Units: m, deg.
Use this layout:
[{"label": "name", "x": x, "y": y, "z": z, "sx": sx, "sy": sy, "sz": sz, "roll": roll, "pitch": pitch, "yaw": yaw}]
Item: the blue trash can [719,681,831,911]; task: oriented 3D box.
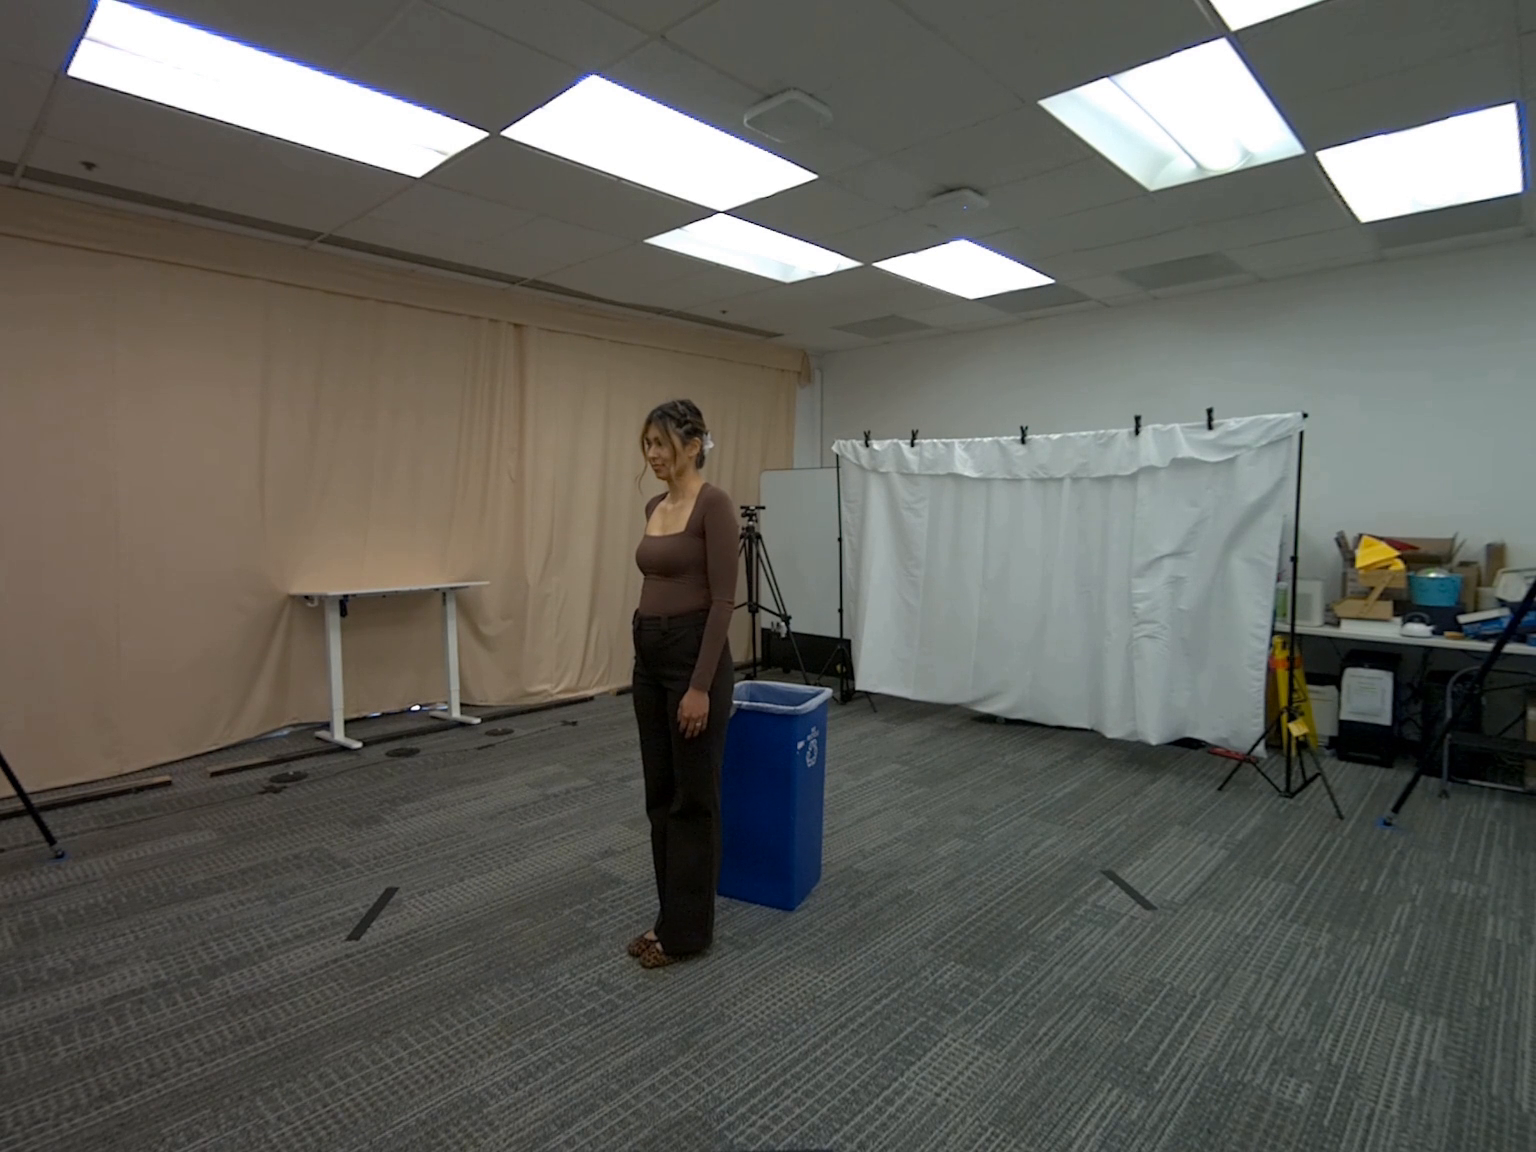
[{"label": "blue trash can", "x": 0.005, "y": 0.778, "z": 3.062, "sx": 0.383, "sy": 0.712, "sz": 0.369, "roll": 3, "pitch": 4, "yaw": 24}]
